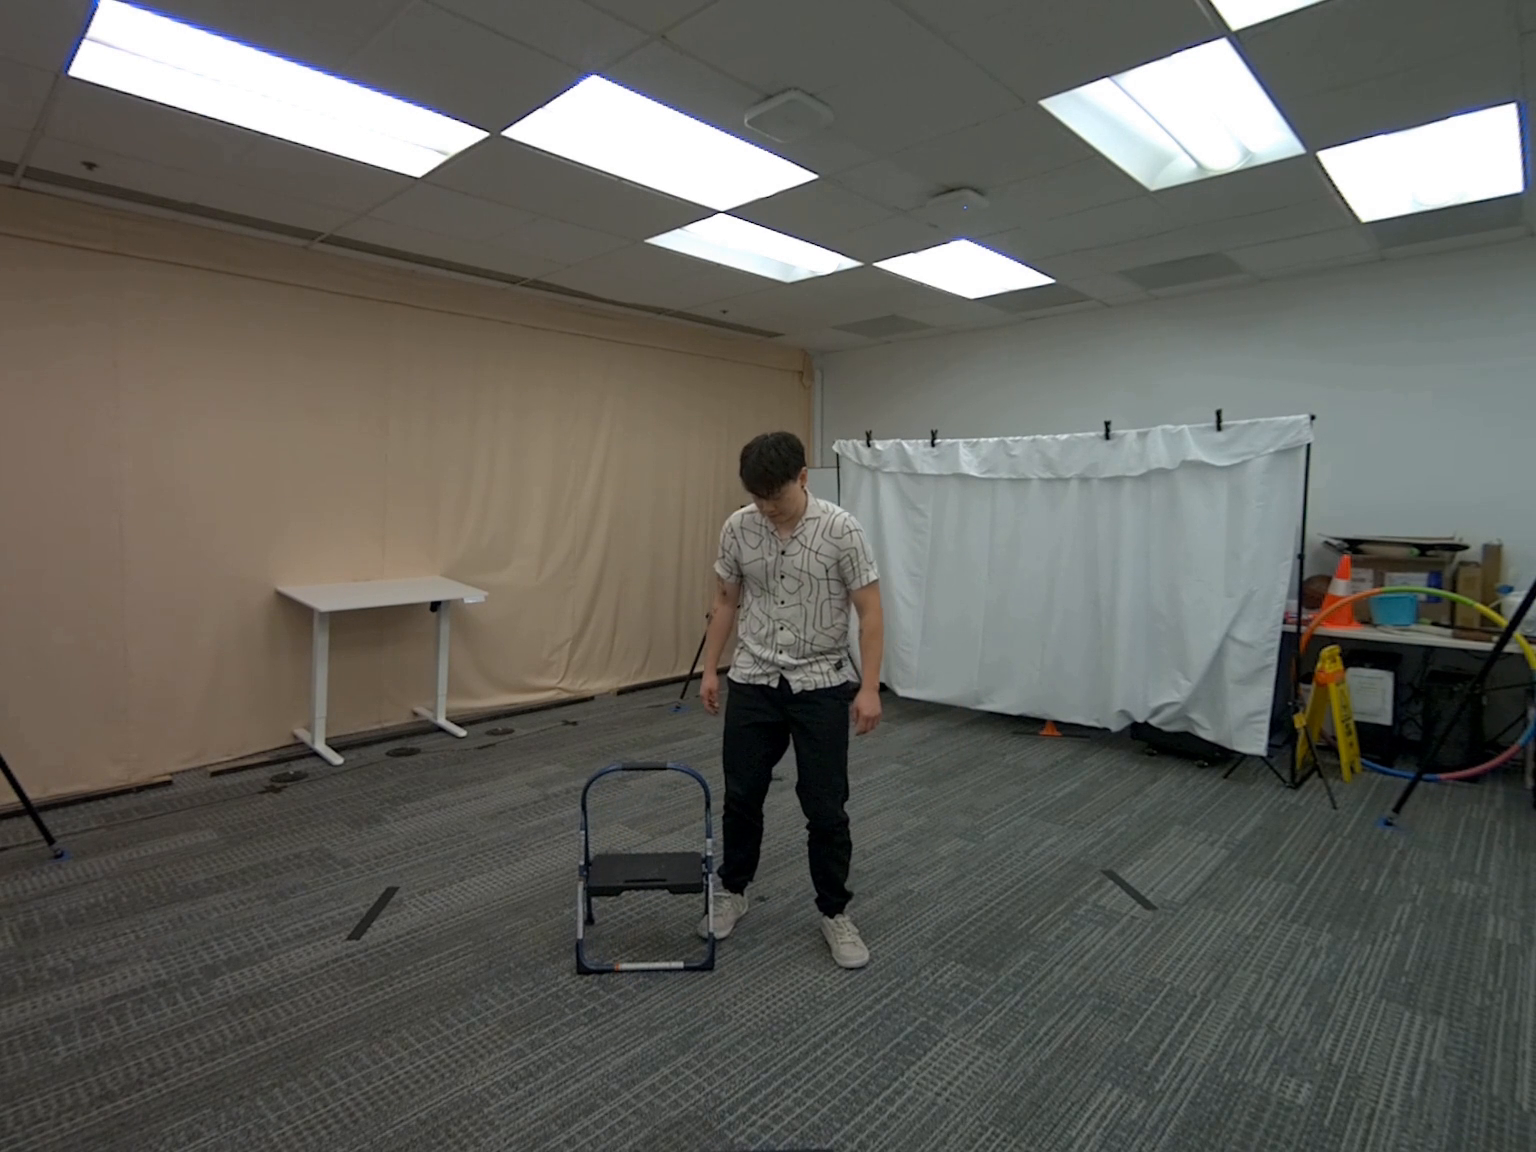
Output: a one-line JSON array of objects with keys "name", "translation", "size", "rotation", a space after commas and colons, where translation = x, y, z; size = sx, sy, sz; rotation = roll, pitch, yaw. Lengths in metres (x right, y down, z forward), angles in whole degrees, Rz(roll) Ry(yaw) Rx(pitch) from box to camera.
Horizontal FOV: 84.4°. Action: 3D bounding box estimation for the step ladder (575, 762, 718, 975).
[{"name": "step ladder", "translation": [-0.386, 0.876, 2.661], "size": [0.429, 0.605, 0.351], "rotation": [0, 2, -4]}]
